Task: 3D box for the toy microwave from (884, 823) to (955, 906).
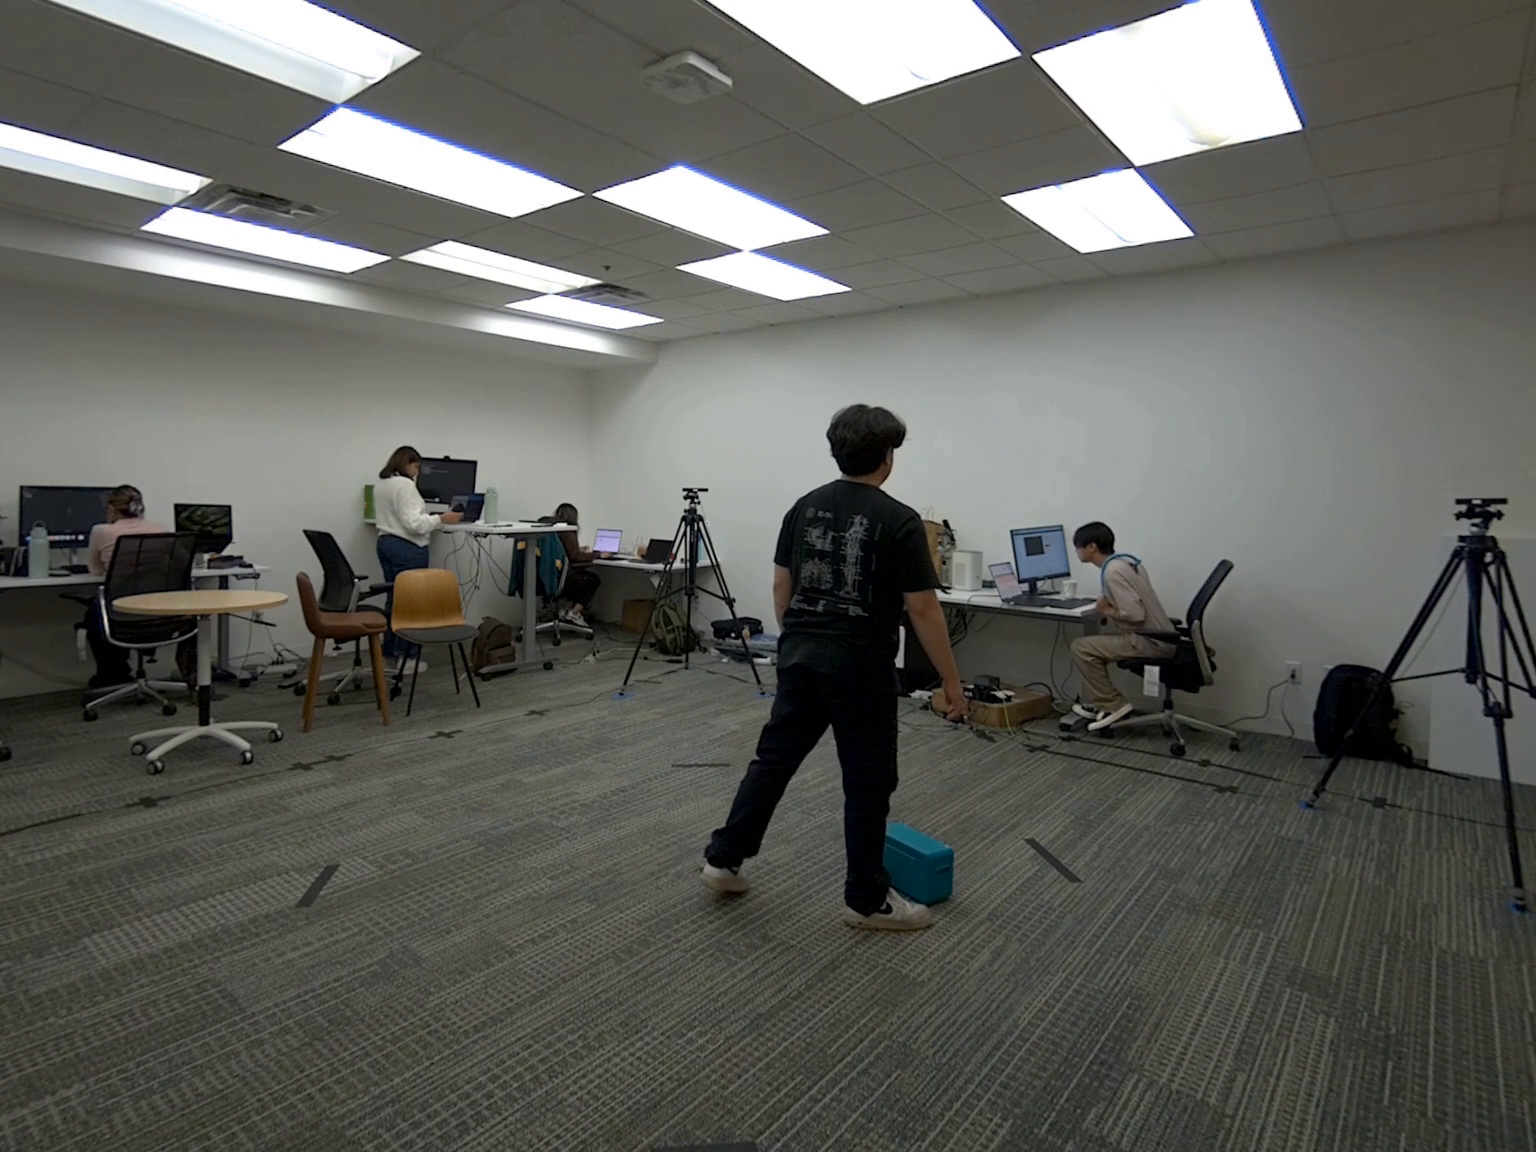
[{"bbox_3d":[0.505,1.007,2.998,0.148,0.183,0.296,-1,6,-35],"label":"toy microwave"}]
